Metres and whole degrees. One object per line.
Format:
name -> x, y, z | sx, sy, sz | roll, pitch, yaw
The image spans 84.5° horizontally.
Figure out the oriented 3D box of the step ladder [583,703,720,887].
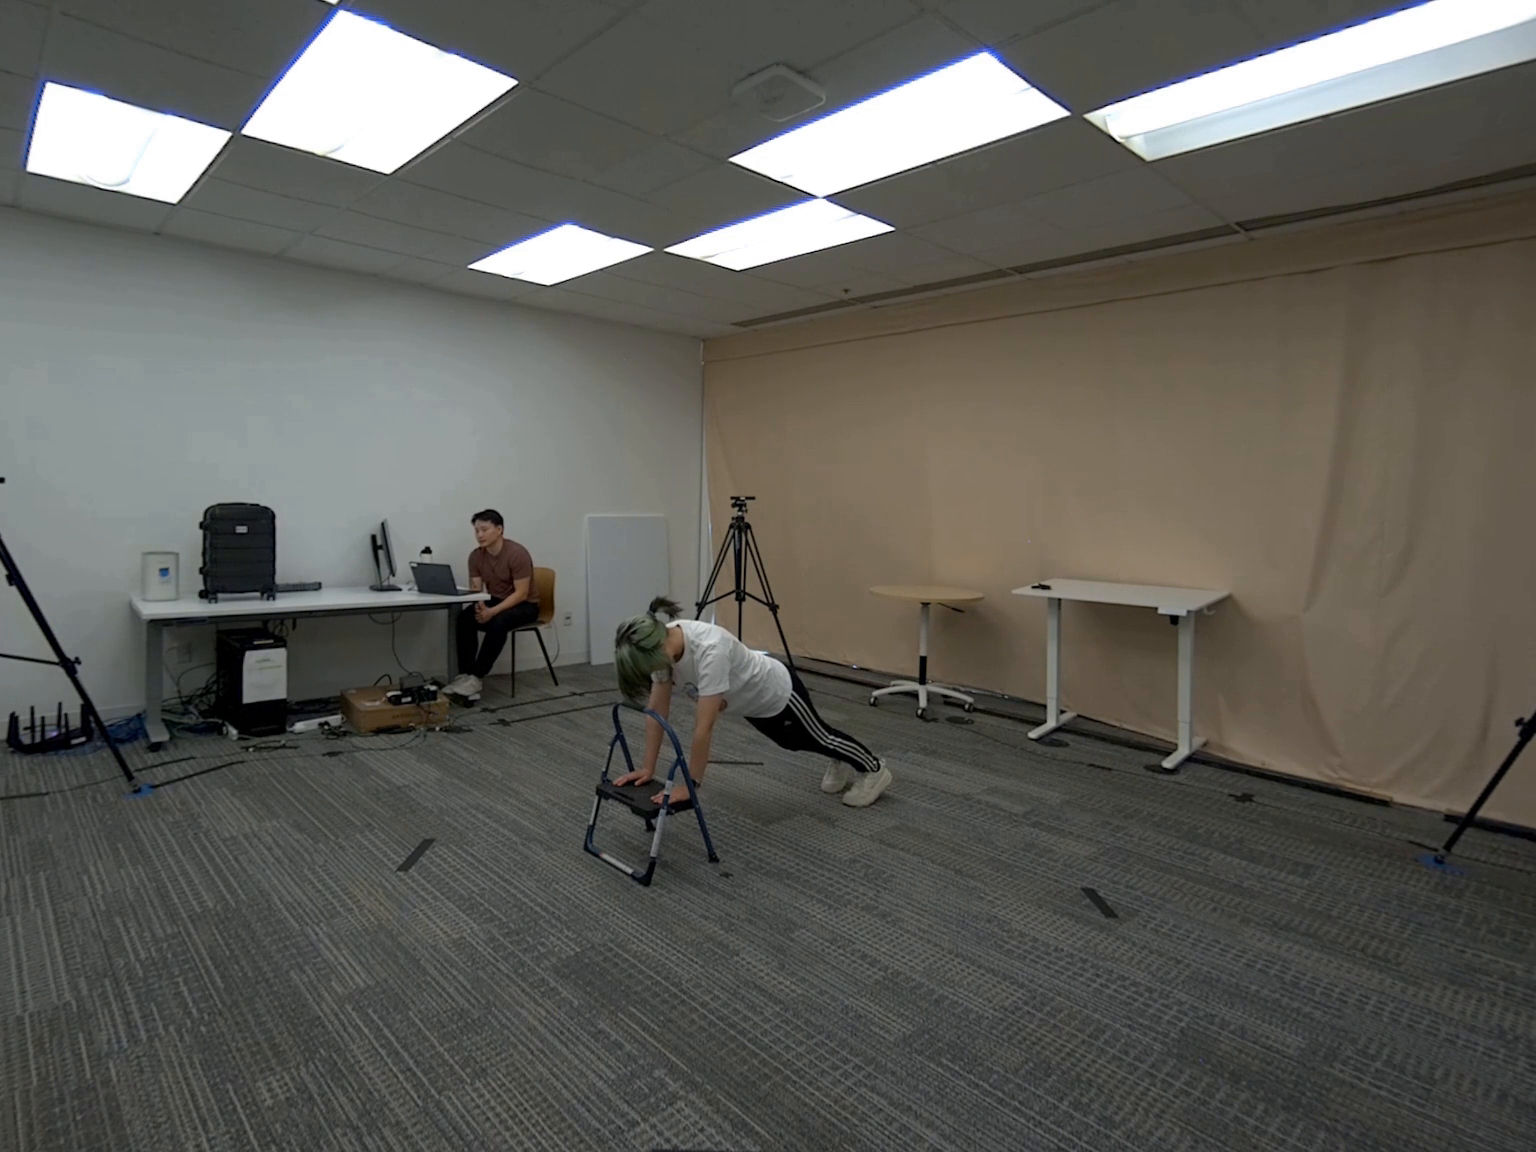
step ladder -> -0.457, 0.782, 3.241 | 0.341, 0.605, 0.442 | -2, 5, -44
